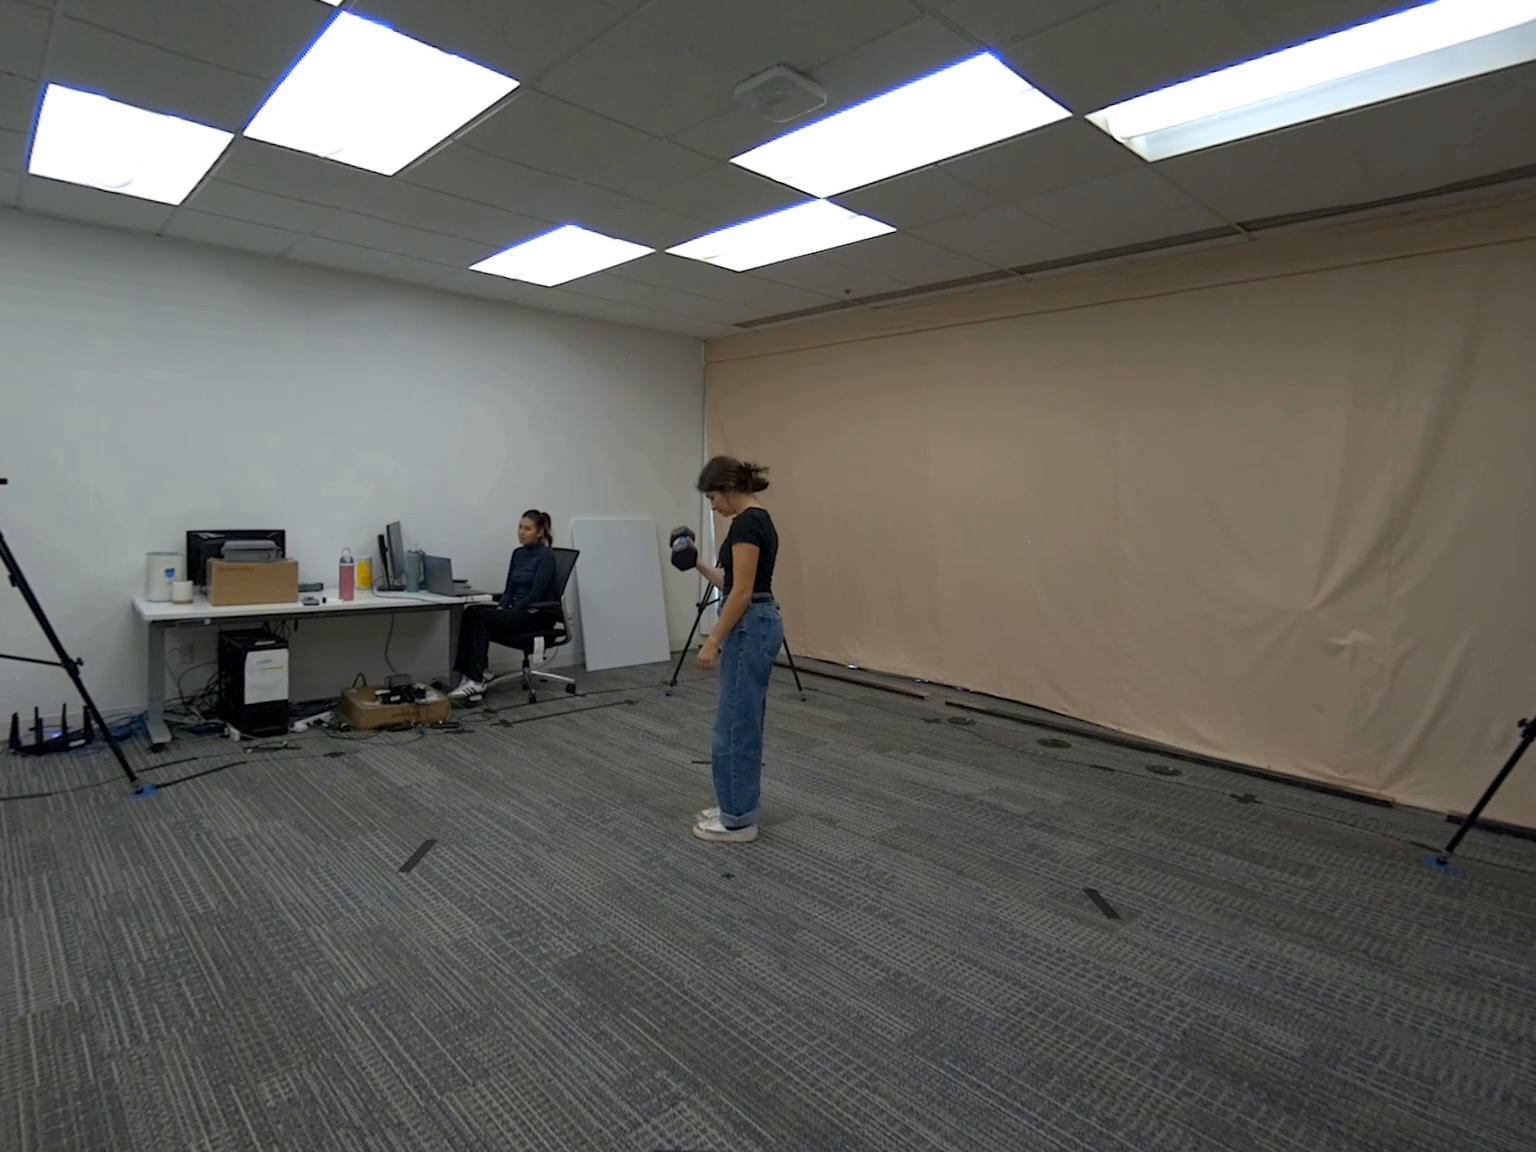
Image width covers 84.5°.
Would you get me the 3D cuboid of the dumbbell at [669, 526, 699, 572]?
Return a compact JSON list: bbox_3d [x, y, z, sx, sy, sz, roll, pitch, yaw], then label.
[{"bbox_3d":[-0.368,-0.117,3.653,0.120,0.109,0.299,39,12,-19],"label":"dumbbell"}]
